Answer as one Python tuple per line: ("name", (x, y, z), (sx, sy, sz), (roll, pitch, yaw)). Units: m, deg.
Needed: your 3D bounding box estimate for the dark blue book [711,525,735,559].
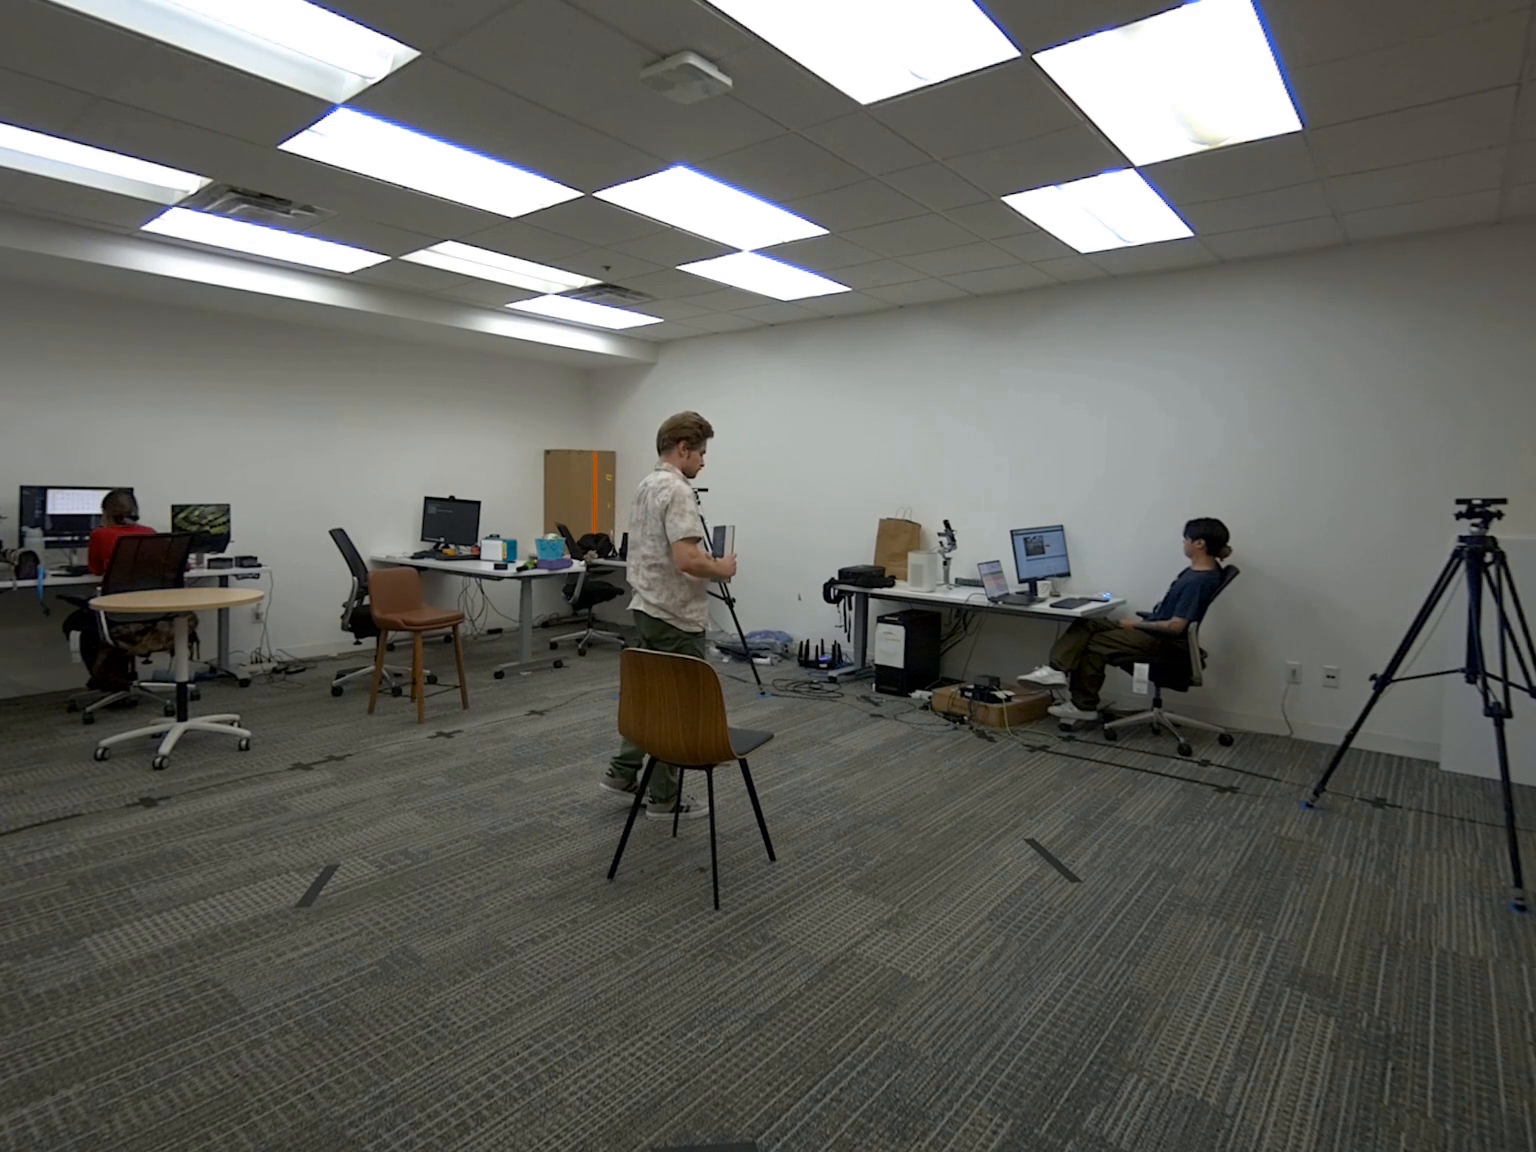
("dark blue book", (-0.213, -0.095, 3.657), (0.044, 0.246, 0.167), (7, -2, -21))
